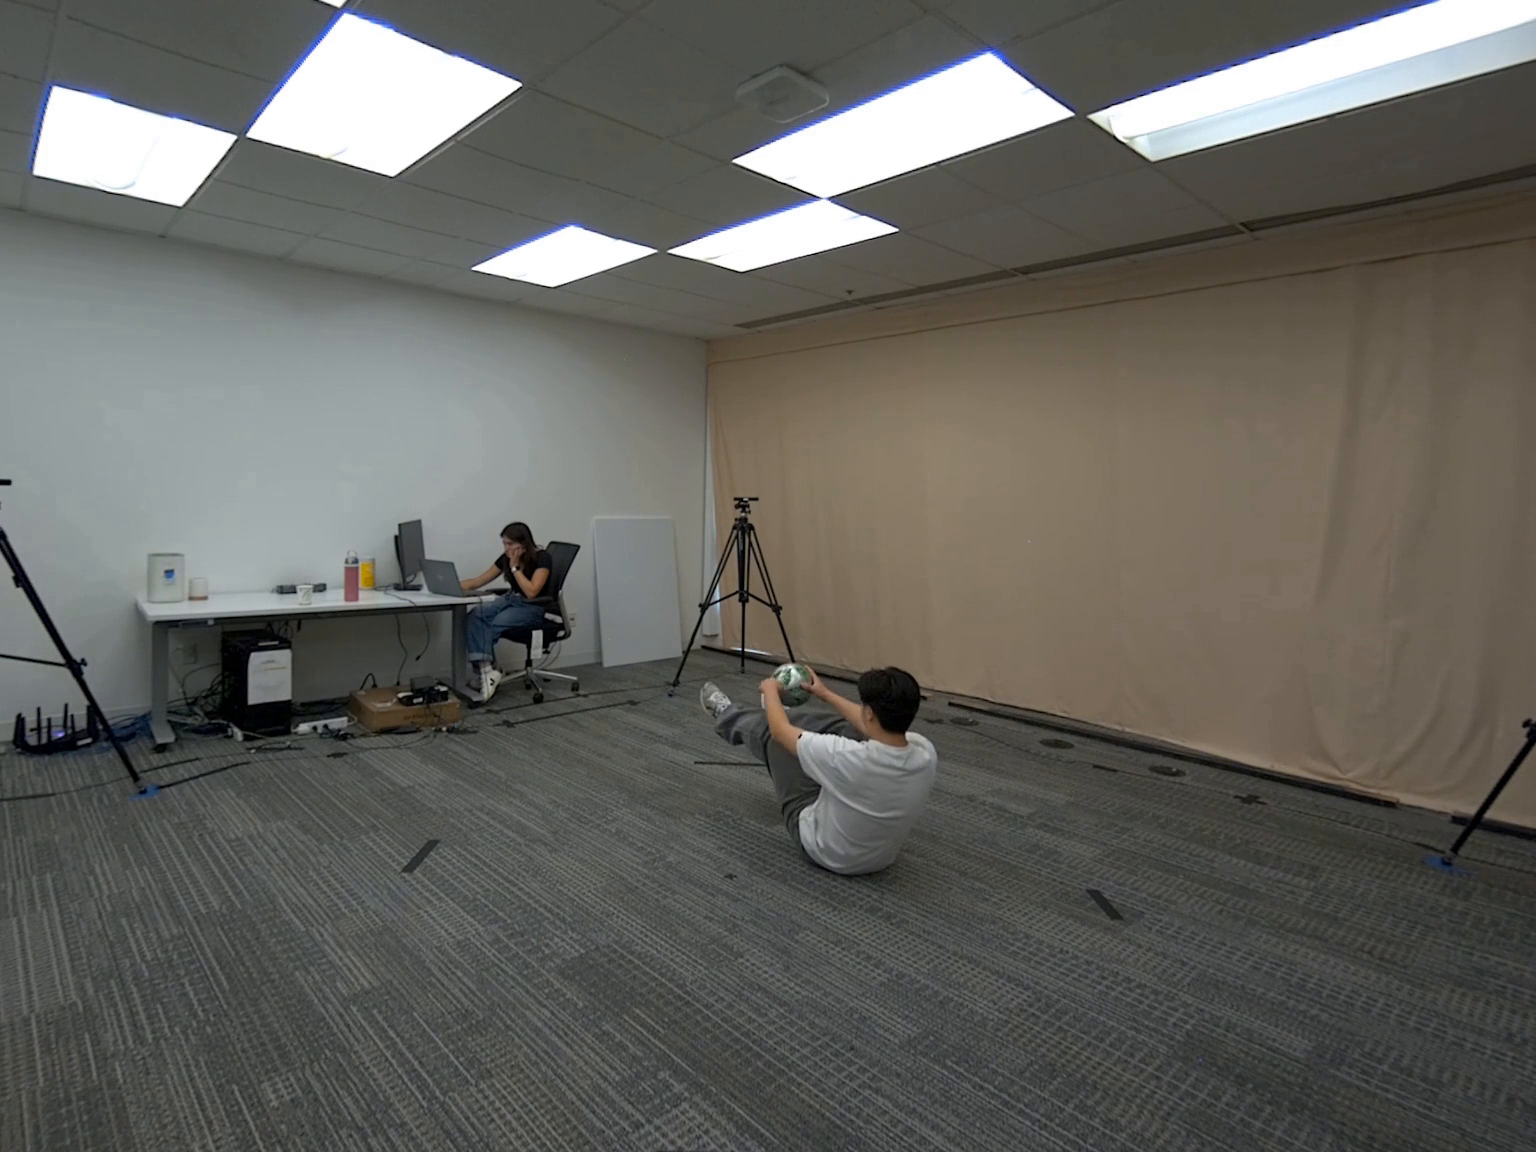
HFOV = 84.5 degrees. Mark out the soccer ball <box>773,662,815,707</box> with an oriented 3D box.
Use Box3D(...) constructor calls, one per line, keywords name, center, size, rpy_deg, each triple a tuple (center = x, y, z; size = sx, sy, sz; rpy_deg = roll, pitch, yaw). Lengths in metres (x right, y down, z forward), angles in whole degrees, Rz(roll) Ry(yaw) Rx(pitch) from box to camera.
Box3D(name="soccer ball", center=(0.089, 0.472, 3.598), size=(0.187, 0.187, 0.188), rpy_deg=(1, 4, -1))
